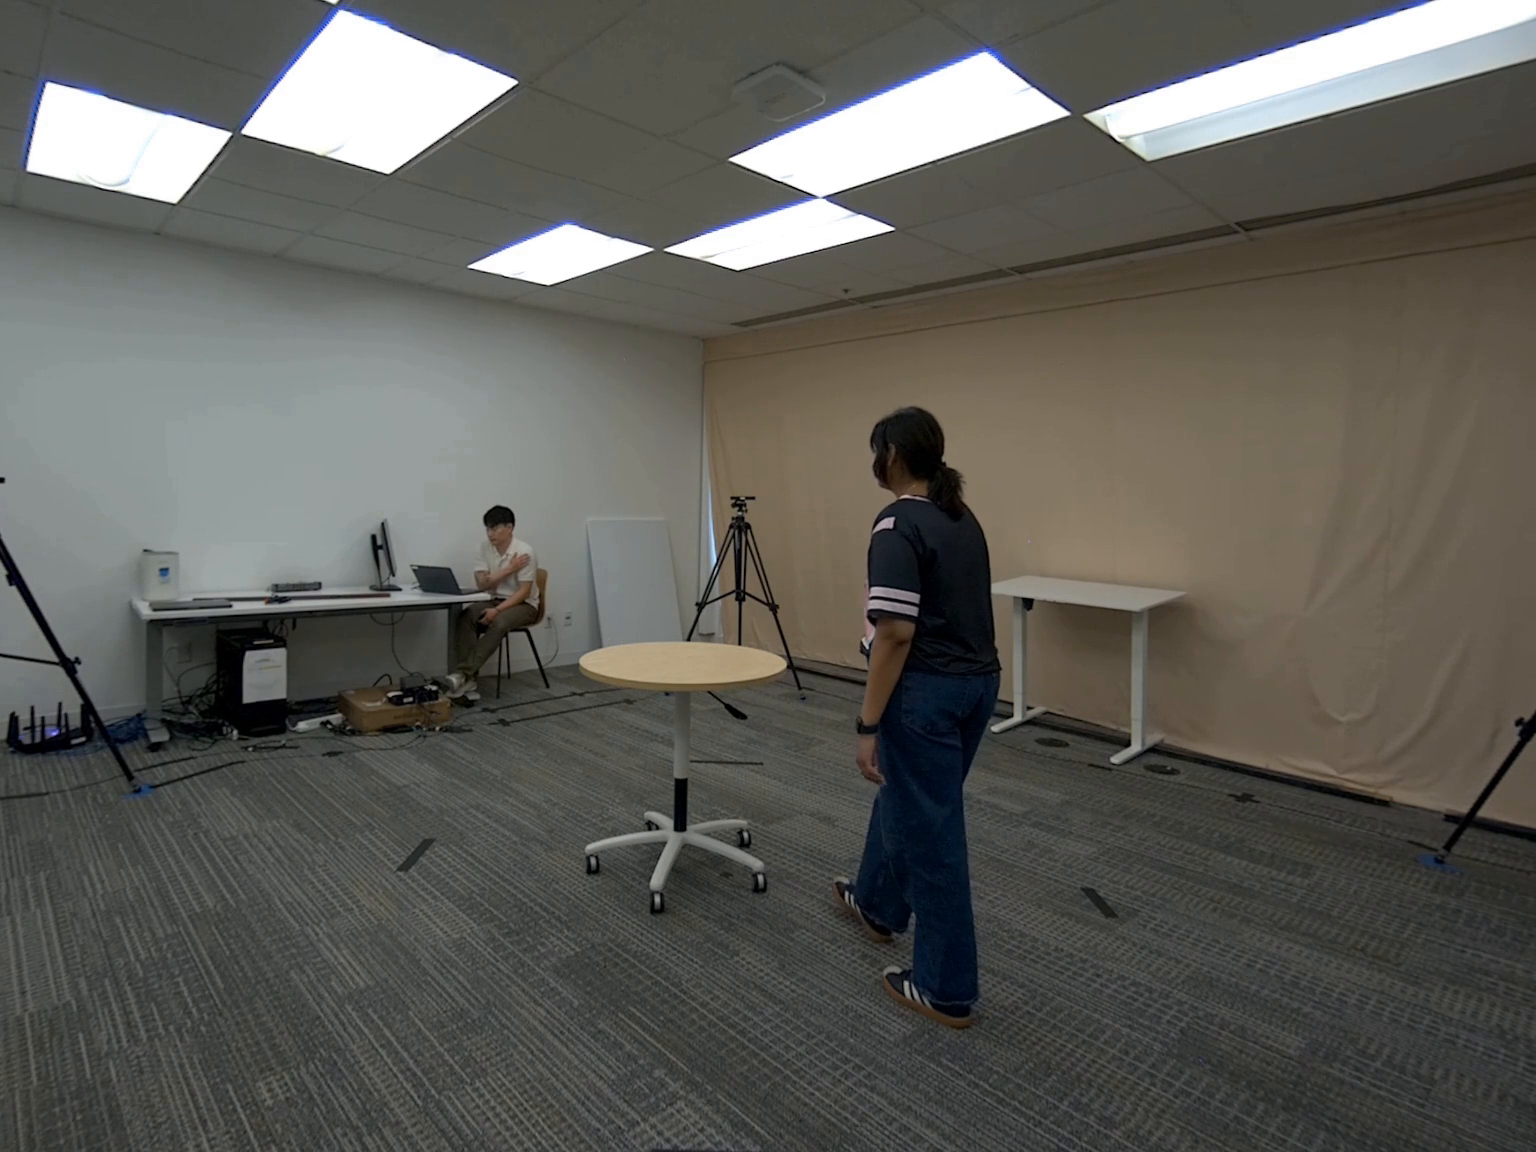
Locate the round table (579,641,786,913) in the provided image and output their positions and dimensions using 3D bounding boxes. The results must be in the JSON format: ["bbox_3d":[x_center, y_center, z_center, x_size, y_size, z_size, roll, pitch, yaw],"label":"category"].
[{"bbox_3d":[-0.329,0.704,3.158,0.784,0.784,0.788,2,4,-1],"label":"round table"}]
